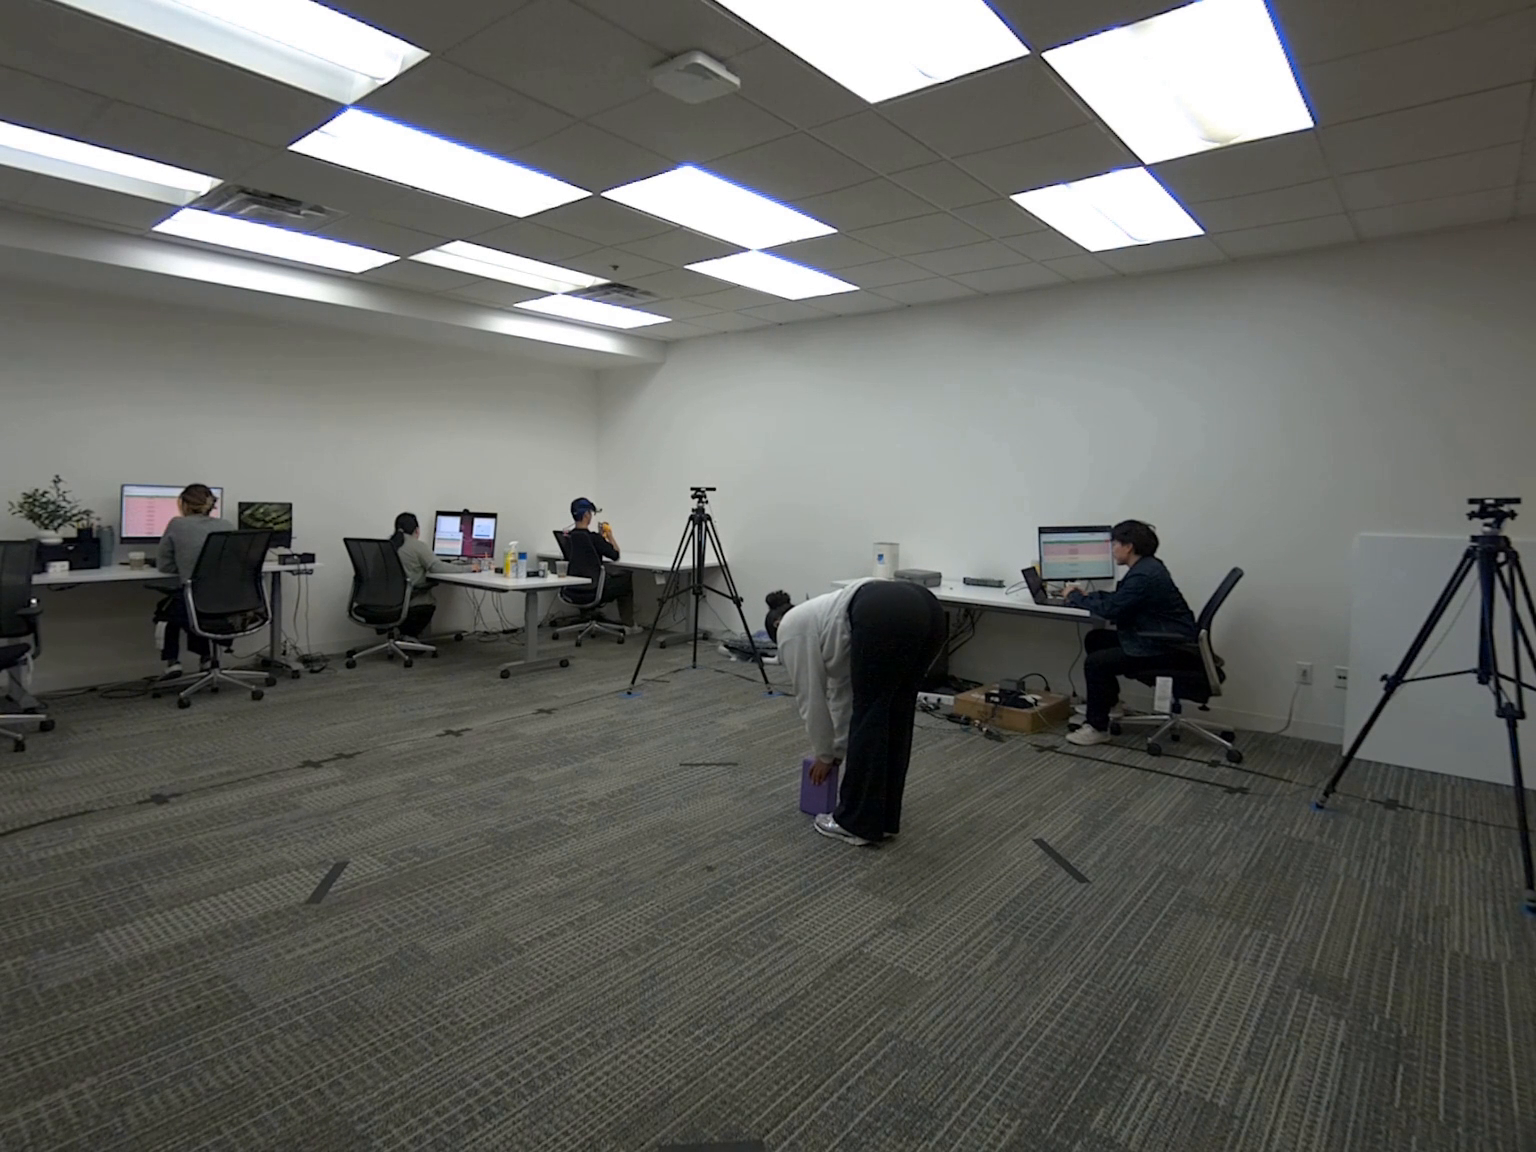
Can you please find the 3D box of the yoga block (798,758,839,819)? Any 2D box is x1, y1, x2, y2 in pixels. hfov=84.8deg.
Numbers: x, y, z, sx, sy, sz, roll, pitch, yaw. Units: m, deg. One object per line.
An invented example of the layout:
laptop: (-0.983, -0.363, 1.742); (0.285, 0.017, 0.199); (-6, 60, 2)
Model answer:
yoga block: (0.210, 0.904, 3.662); (0.154, 0.229, 0.074); (5, 3, 39)
